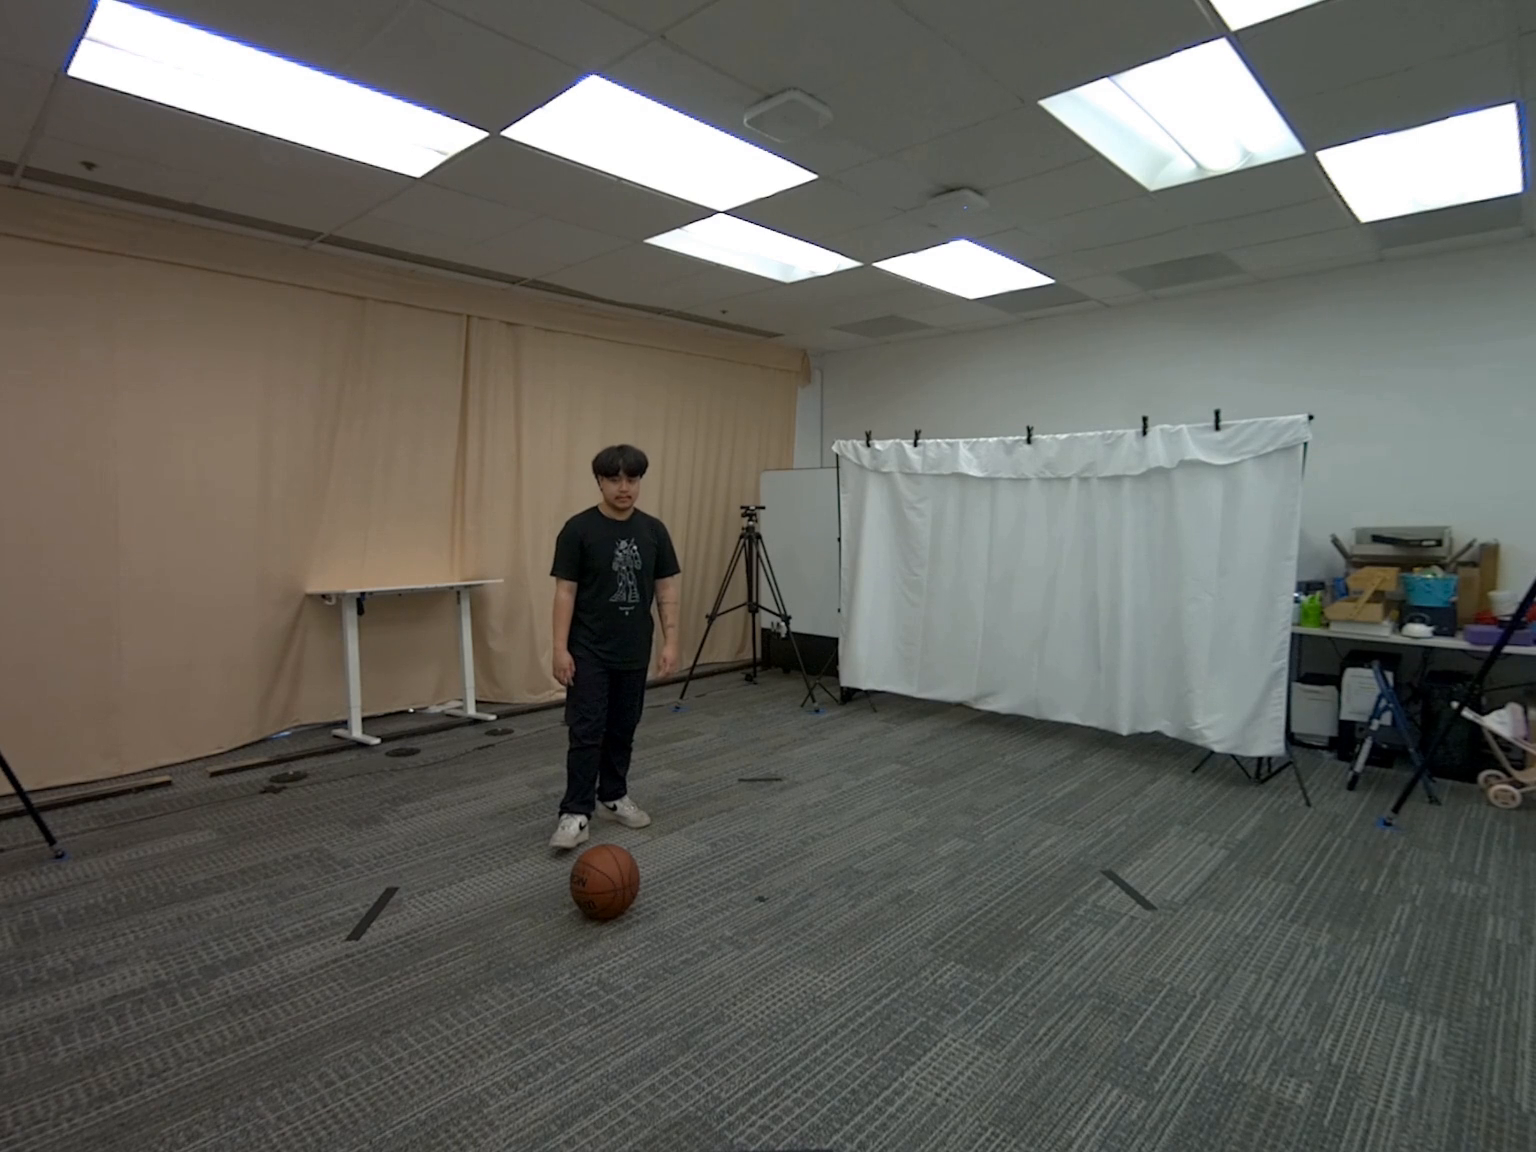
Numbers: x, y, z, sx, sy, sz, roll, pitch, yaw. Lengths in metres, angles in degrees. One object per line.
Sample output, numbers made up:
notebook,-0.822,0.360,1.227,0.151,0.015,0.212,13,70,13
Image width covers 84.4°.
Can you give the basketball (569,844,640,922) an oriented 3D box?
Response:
basketball,-0.551,1.036,2.868,0.236,0.235,0.237,0,4,-2
